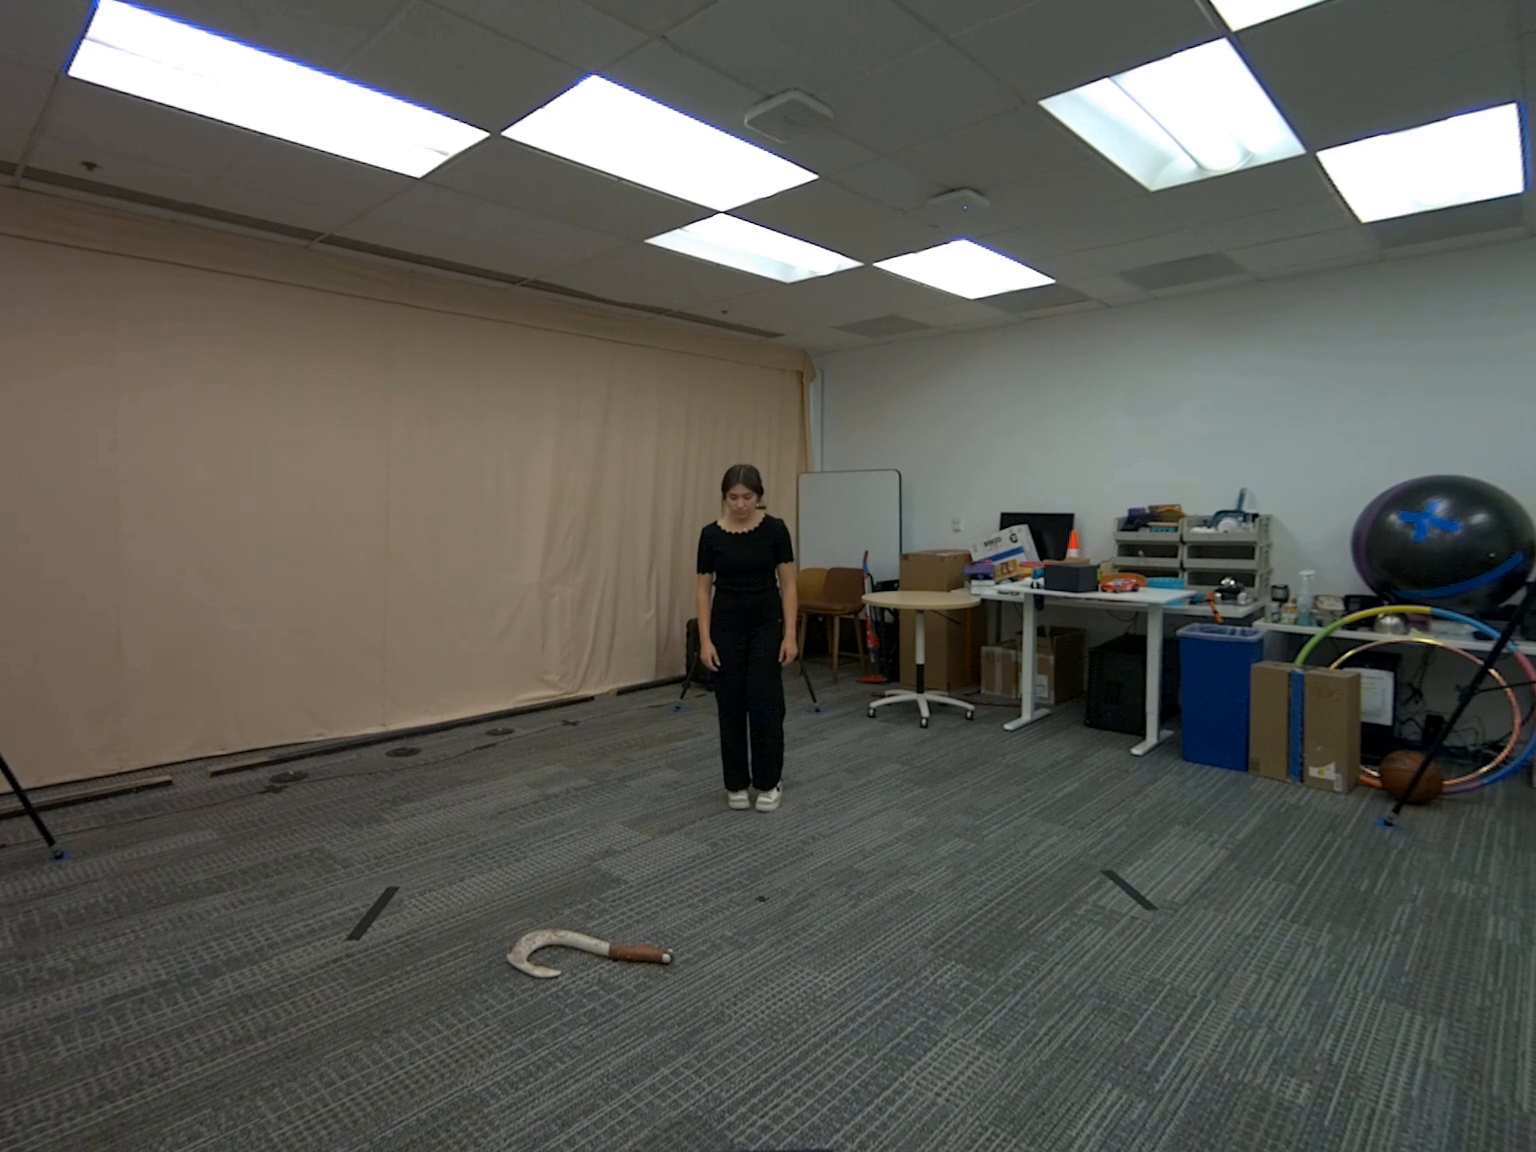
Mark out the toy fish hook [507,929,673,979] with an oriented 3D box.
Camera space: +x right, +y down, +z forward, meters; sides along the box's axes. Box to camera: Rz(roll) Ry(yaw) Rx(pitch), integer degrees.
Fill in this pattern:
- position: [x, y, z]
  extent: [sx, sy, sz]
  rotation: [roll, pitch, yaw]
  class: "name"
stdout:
- position: [-0.542, 1.166, 2.565]
  extent: [0.514, 0.048, 0.223]
  rotation: [0, 12, 13]
  class: "toy fish hook"
